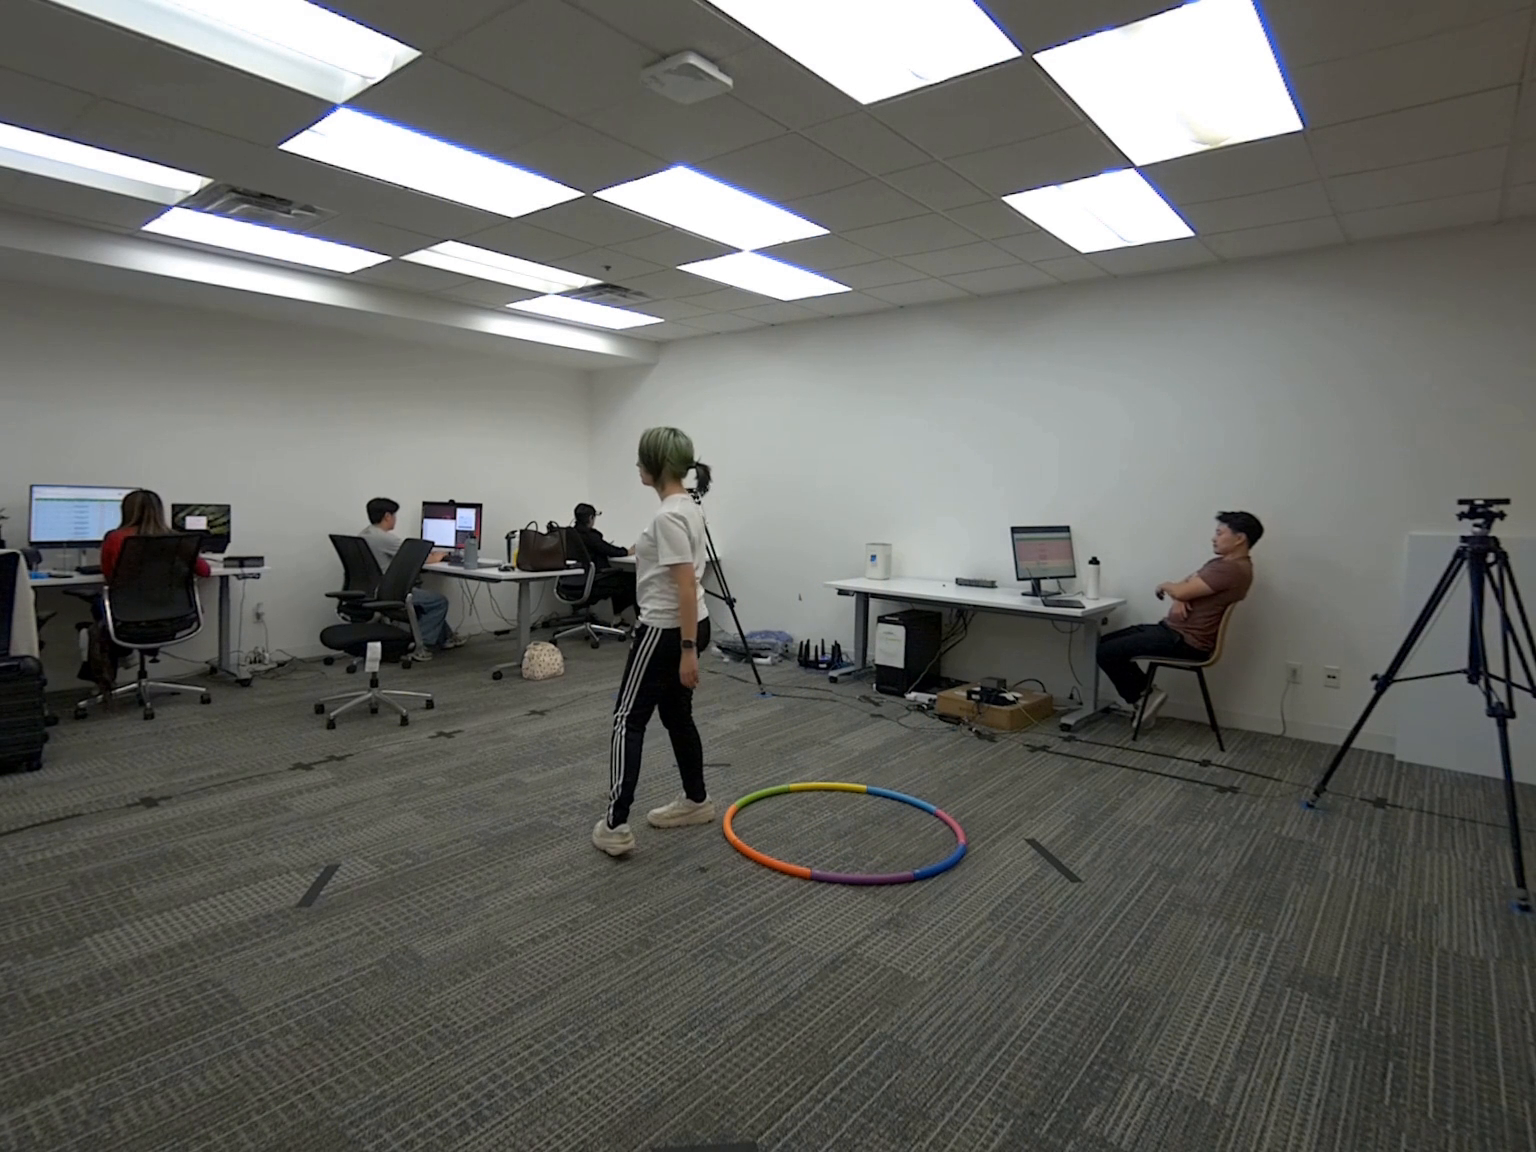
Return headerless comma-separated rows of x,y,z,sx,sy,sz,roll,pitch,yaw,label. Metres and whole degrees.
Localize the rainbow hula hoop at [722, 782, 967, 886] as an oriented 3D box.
0.296,1.017,3.490,0.984,0.051,0.991,0,6,-2,rainbow hula hoop
